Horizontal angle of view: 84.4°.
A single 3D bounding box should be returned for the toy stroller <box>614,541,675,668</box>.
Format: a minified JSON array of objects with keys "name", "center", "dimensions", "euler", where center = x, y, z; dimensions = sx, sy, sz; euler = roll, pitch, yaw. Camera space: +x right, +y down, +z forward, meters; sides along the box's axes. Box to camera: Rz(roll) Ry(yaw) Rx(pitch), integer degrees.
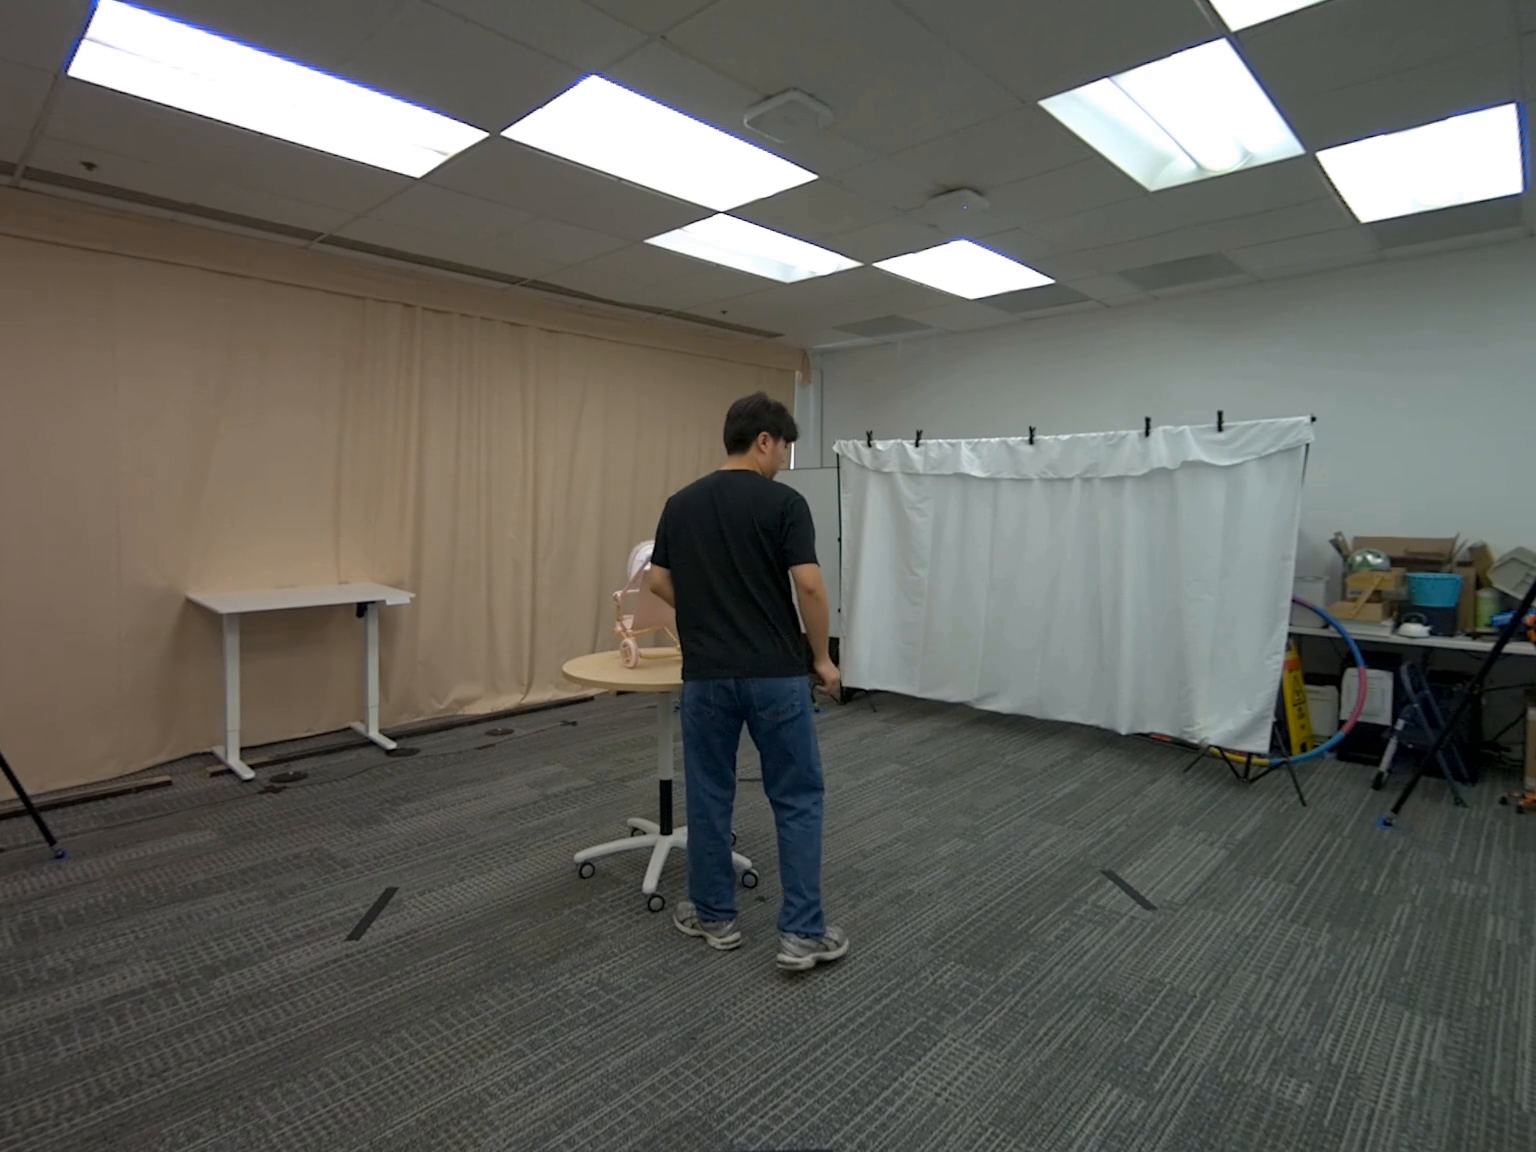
[{"name":"toy stroller","center":[-0.442,0.105,3.225],"dimensions":[0.274,0.531,0.353],"euler":[-2,18,-30]}]
